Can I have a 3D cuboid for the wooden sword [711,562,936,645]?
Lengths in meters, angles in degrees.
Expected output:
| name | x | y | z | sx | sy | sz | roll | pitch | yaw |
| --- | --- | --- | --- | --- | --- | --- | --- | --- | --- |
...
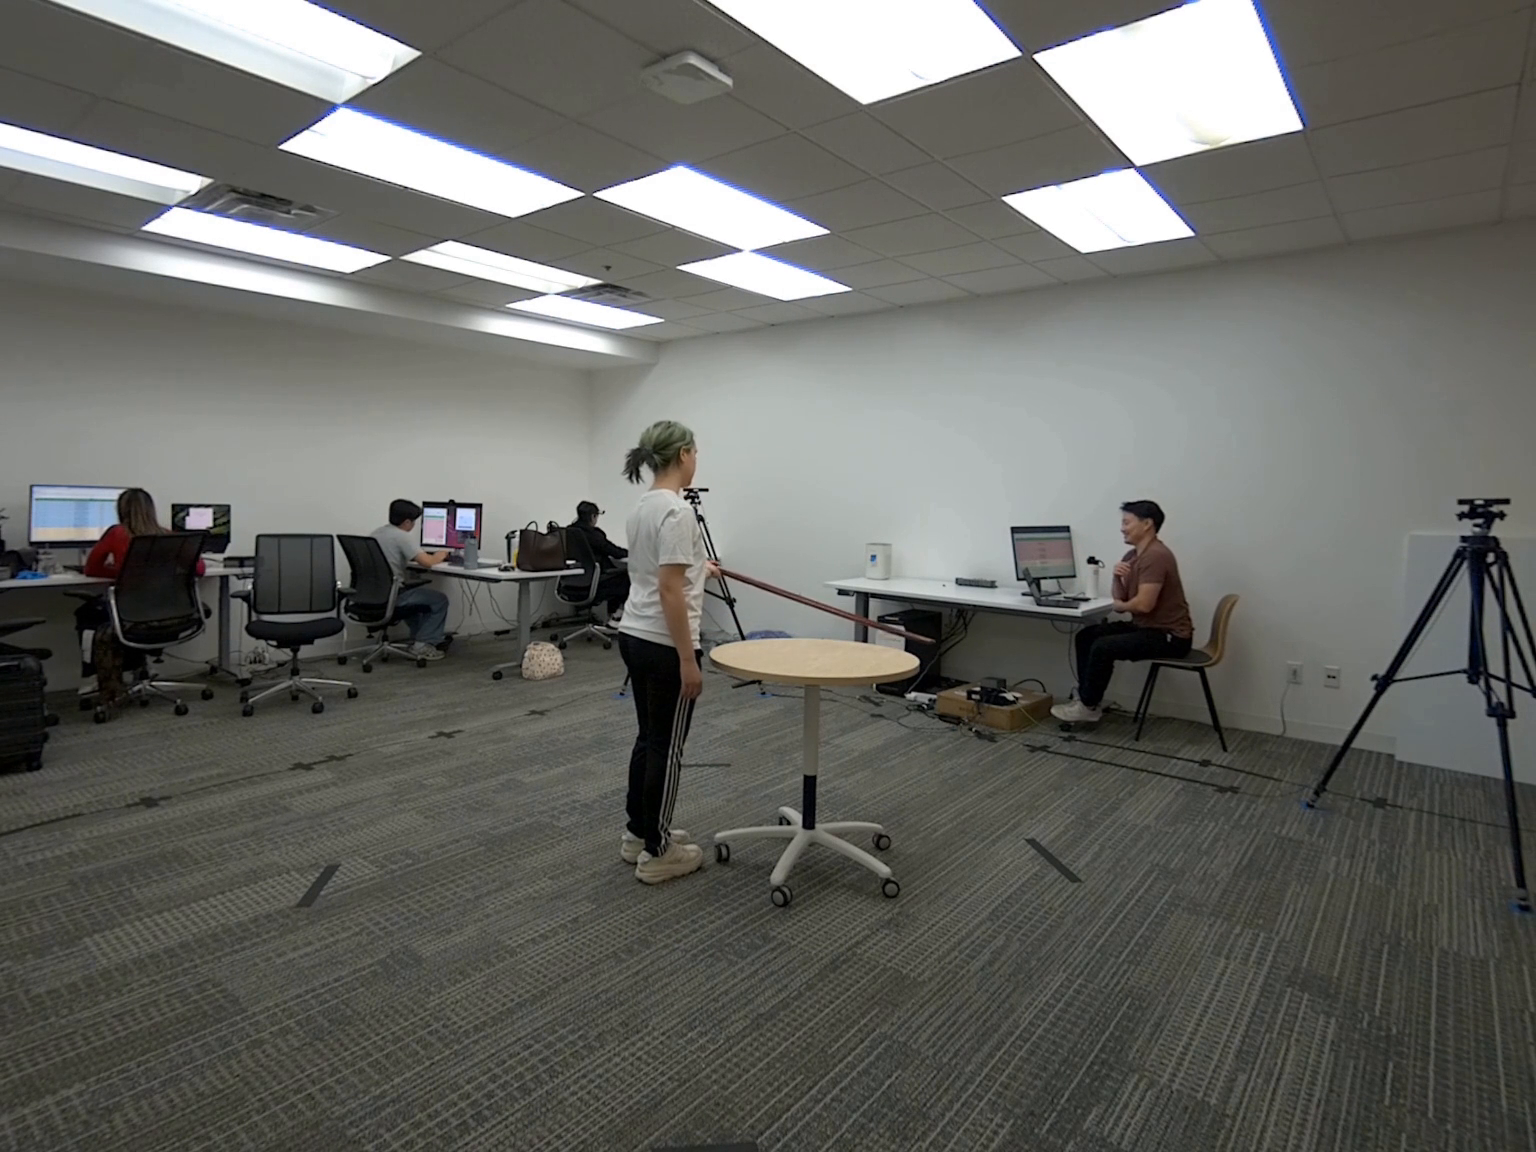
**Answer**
| name | x | y | z | sx | sy | sz | roll | pitch | yaw |
| --- | --- | --- | --- | --- | --- | --- | --- | --- | --- |
| wooden sword | 0.180 | 0.109 | 3.377 | 1.044 | 0.050 | 0.024 | 19 | 46 | 14 |
